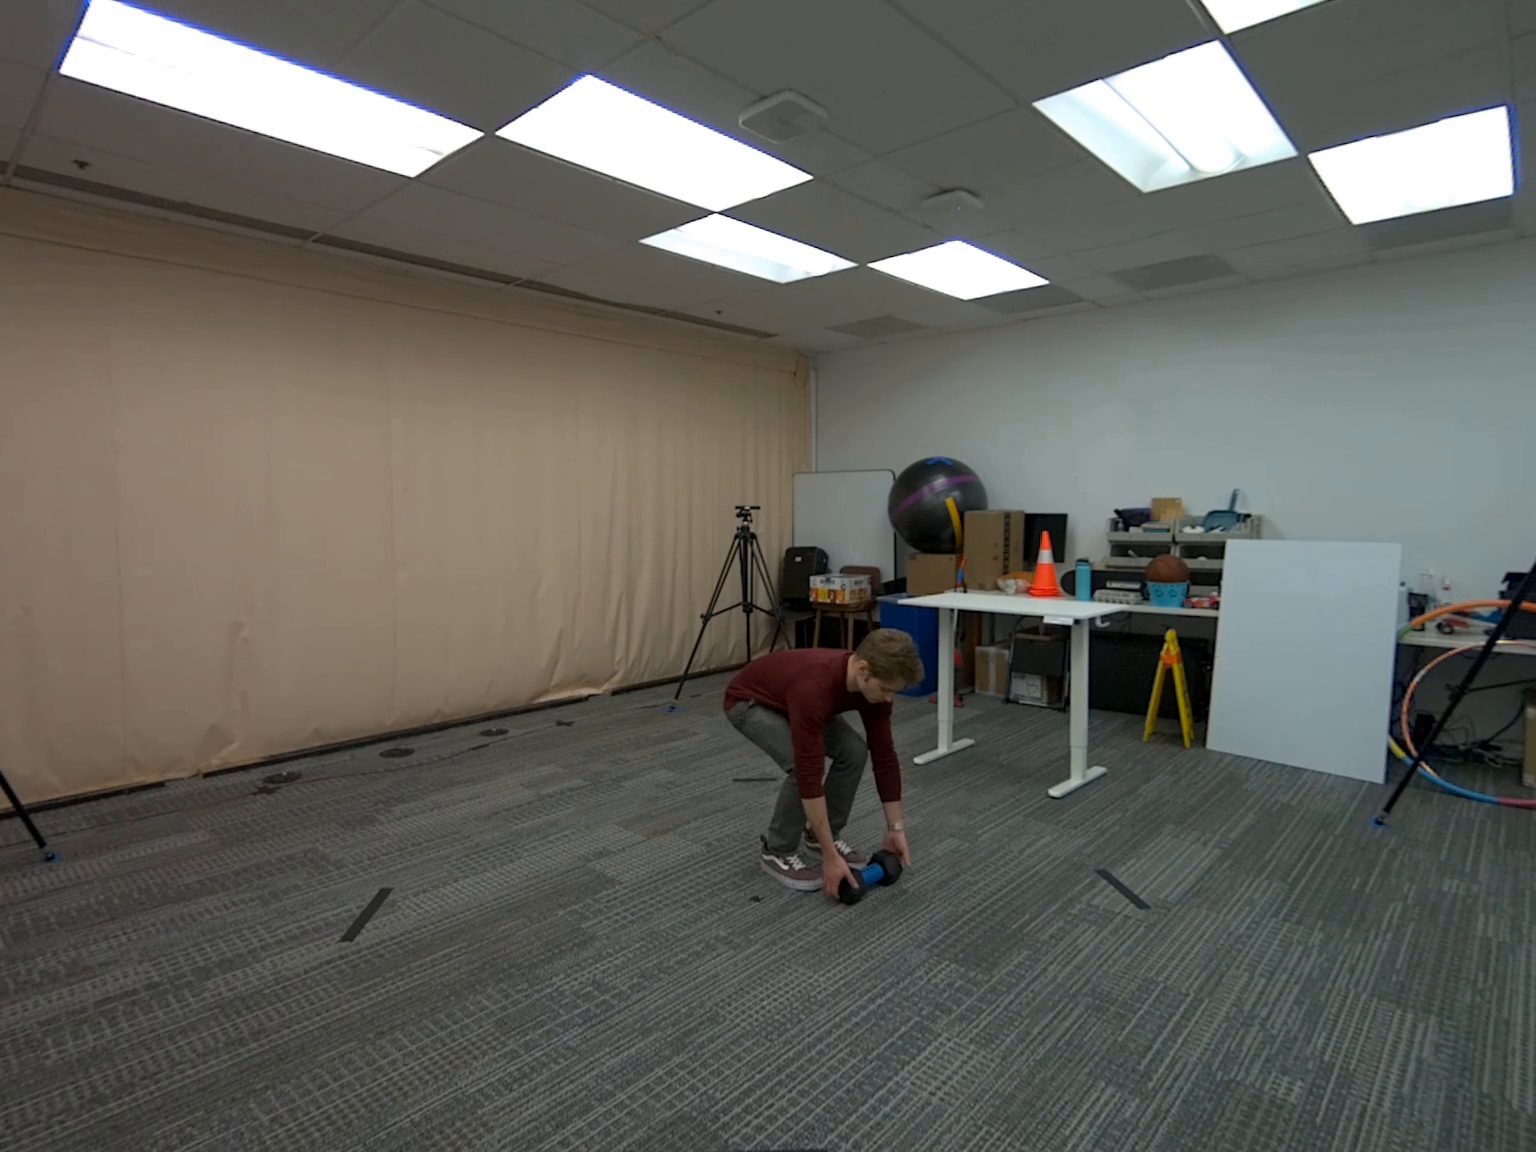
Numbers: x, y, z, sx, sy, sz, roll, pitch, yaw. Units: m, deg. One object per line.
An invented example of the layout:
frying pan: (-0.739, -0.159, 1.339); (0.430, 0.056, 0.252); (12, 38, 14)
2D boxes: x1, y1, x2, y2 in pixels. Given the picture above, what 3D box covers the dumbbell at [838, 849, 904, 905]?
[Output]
dumbbell: (0.357, 1.079, 3.046); (0.285, 0.122, 0.112); (-5, 36, -43)
